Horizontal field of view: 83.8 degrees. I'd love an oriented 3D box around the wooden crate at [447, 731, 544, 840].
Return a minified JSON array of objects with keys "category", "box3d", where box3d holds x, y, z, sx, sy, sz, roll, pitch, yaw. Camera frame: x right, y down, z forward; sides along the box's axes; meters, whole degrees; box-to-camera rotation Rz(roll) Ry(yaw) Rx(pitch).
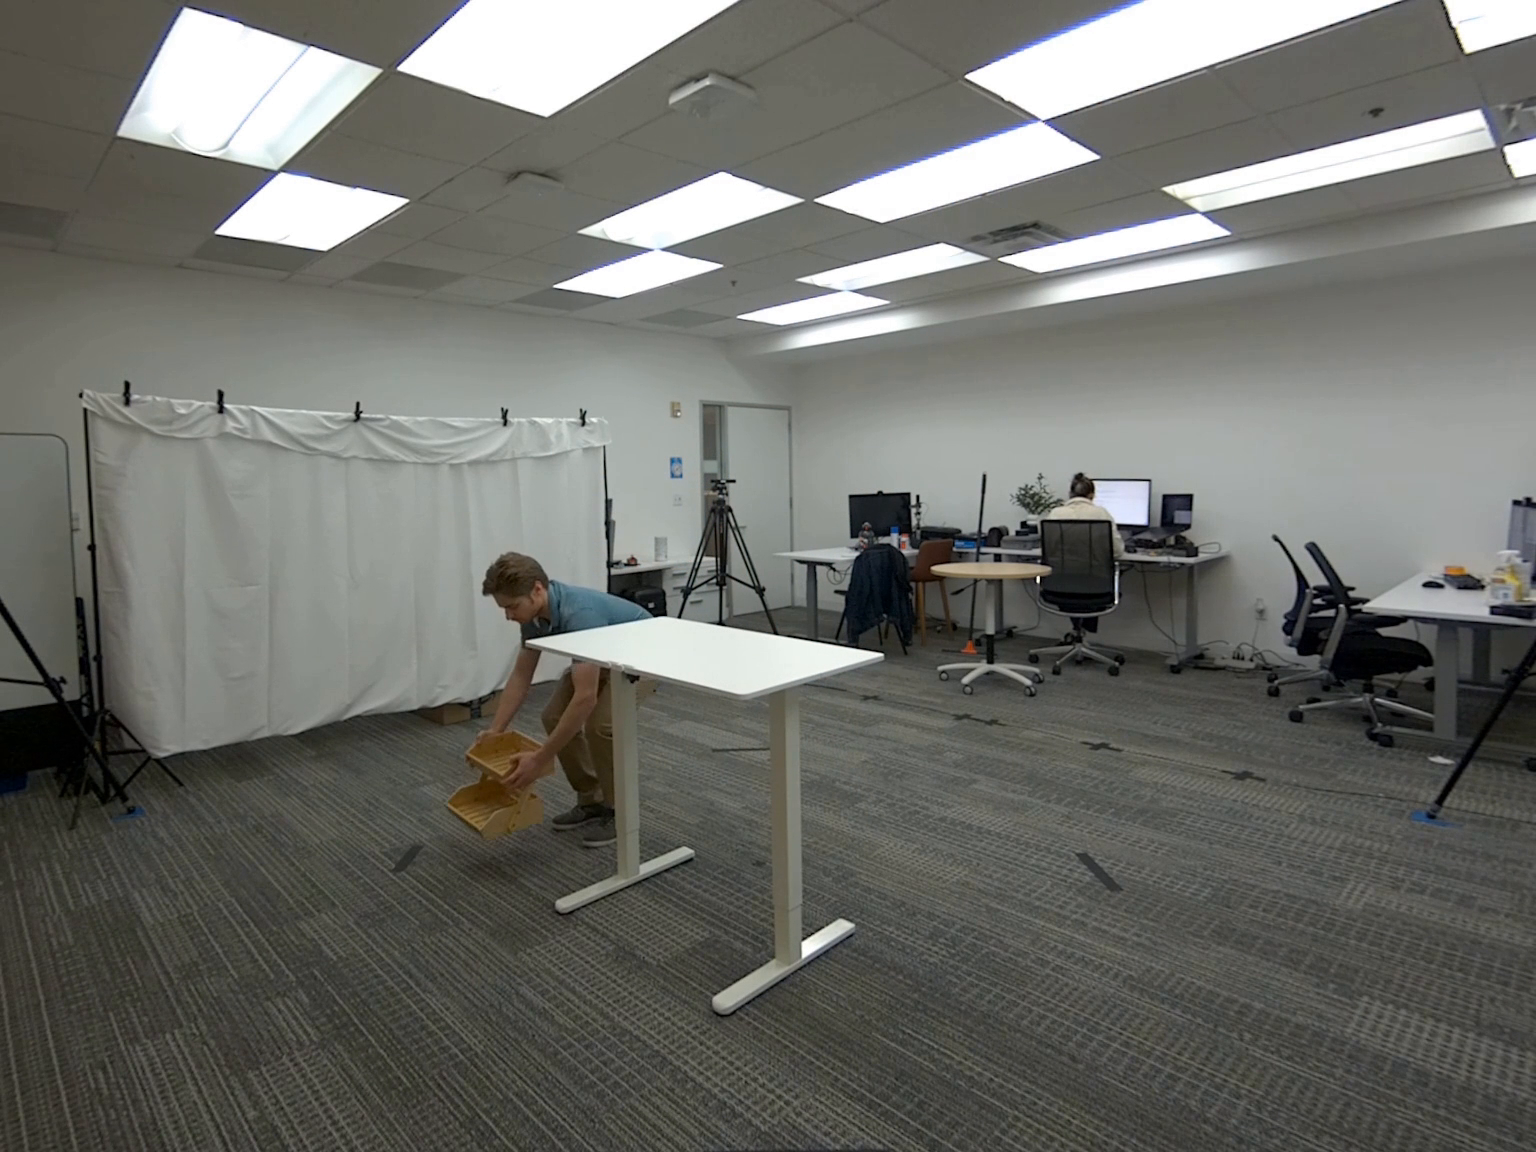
[{"category":"wooden crate","box3d":[-1.006,0.762,3.175,0.294,0.272,0.335,-7,10,-43]}]
